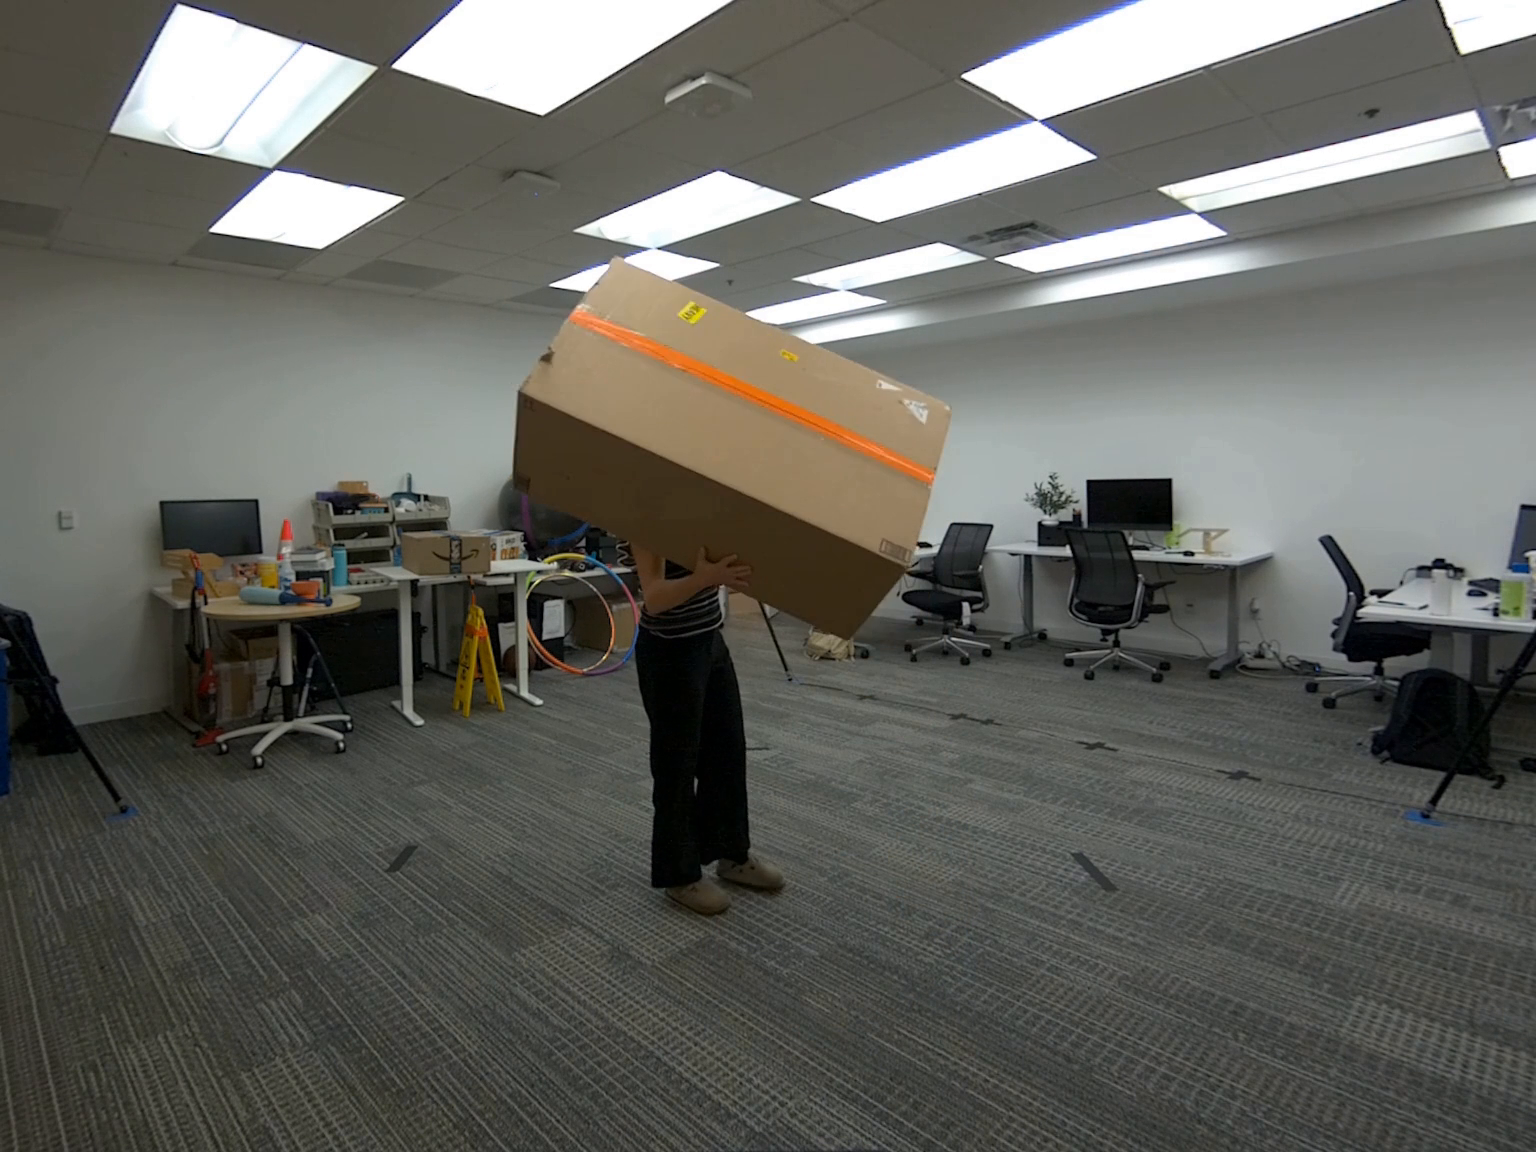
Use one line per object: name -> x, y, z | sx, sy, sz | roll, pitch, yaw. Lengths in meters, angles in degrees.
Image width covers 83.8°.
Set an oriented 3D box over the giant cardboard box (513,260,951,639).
giant cardboard box -> -0.096, -0.340, 2.345 | 1.026, 0.584, 0.421 | 24, -35, 0
